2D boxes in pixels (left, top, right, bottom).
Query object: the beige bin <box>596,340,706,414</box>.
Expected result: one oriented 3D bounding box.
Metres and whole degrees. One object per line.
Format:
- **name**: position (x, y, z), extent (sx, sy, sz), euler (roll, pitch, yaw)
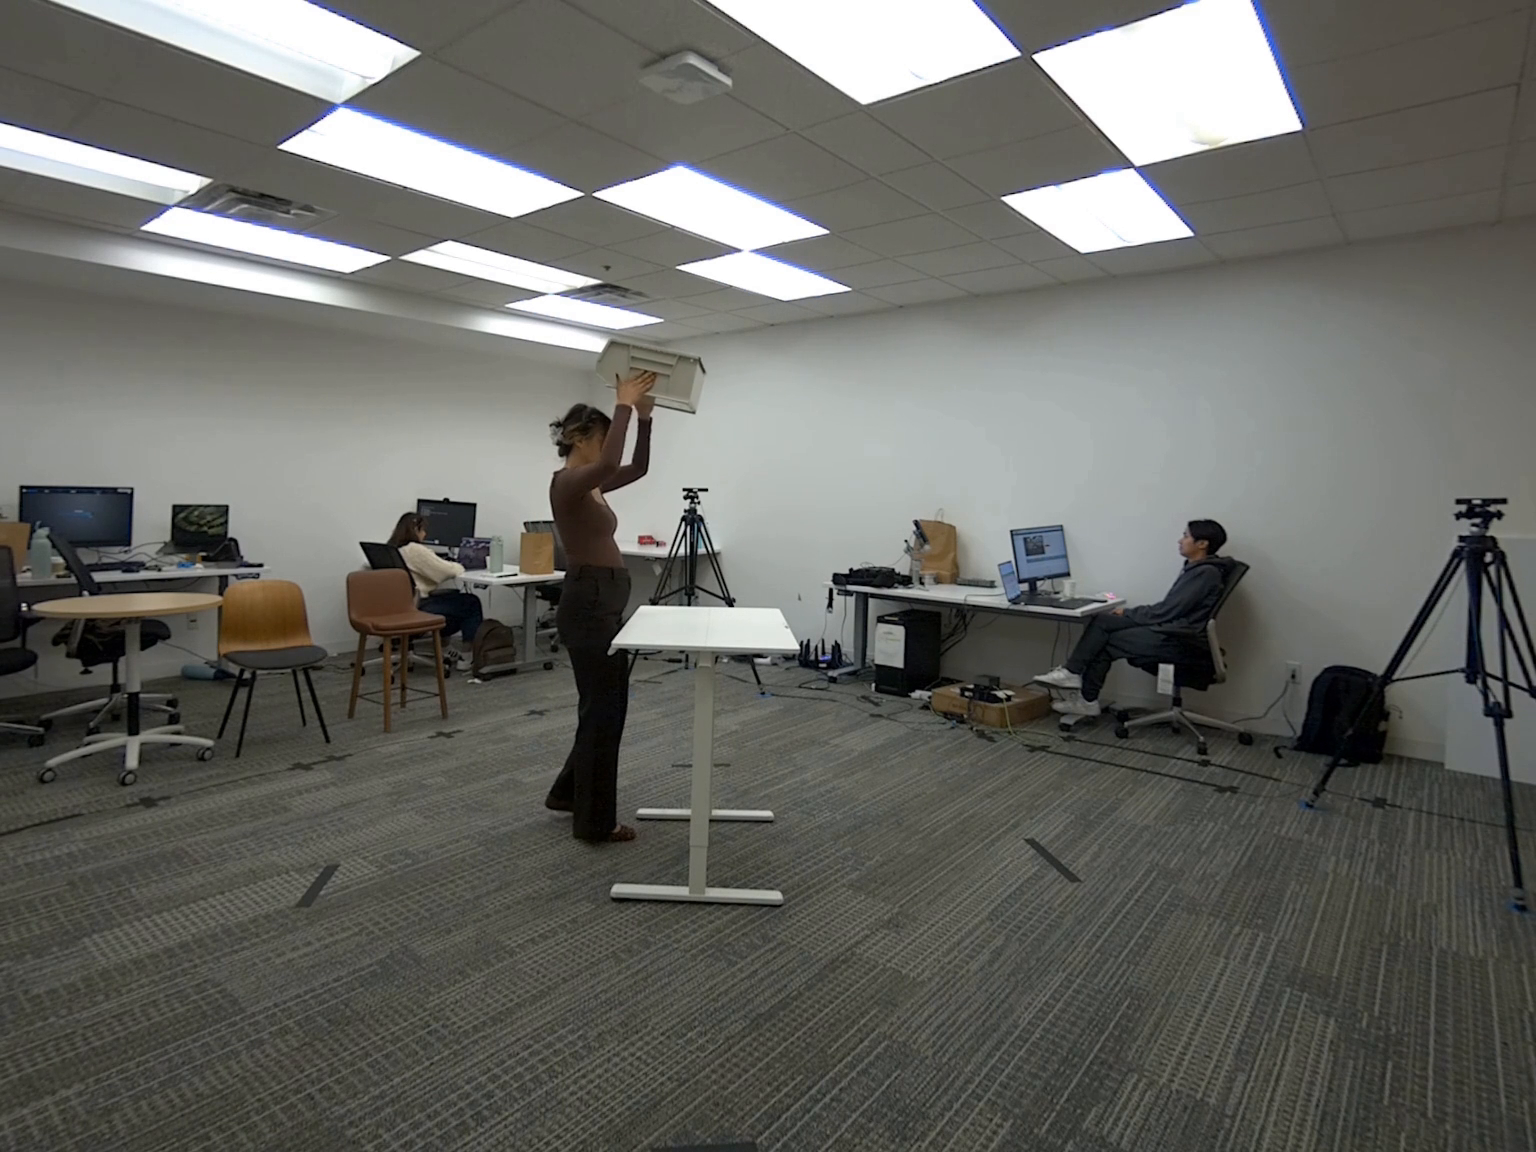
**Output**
- **beige bin**: position (-0.466, -0.778, 3.329), extent (0.378, 0.188, 0.422), euler (13, 4, 0)
